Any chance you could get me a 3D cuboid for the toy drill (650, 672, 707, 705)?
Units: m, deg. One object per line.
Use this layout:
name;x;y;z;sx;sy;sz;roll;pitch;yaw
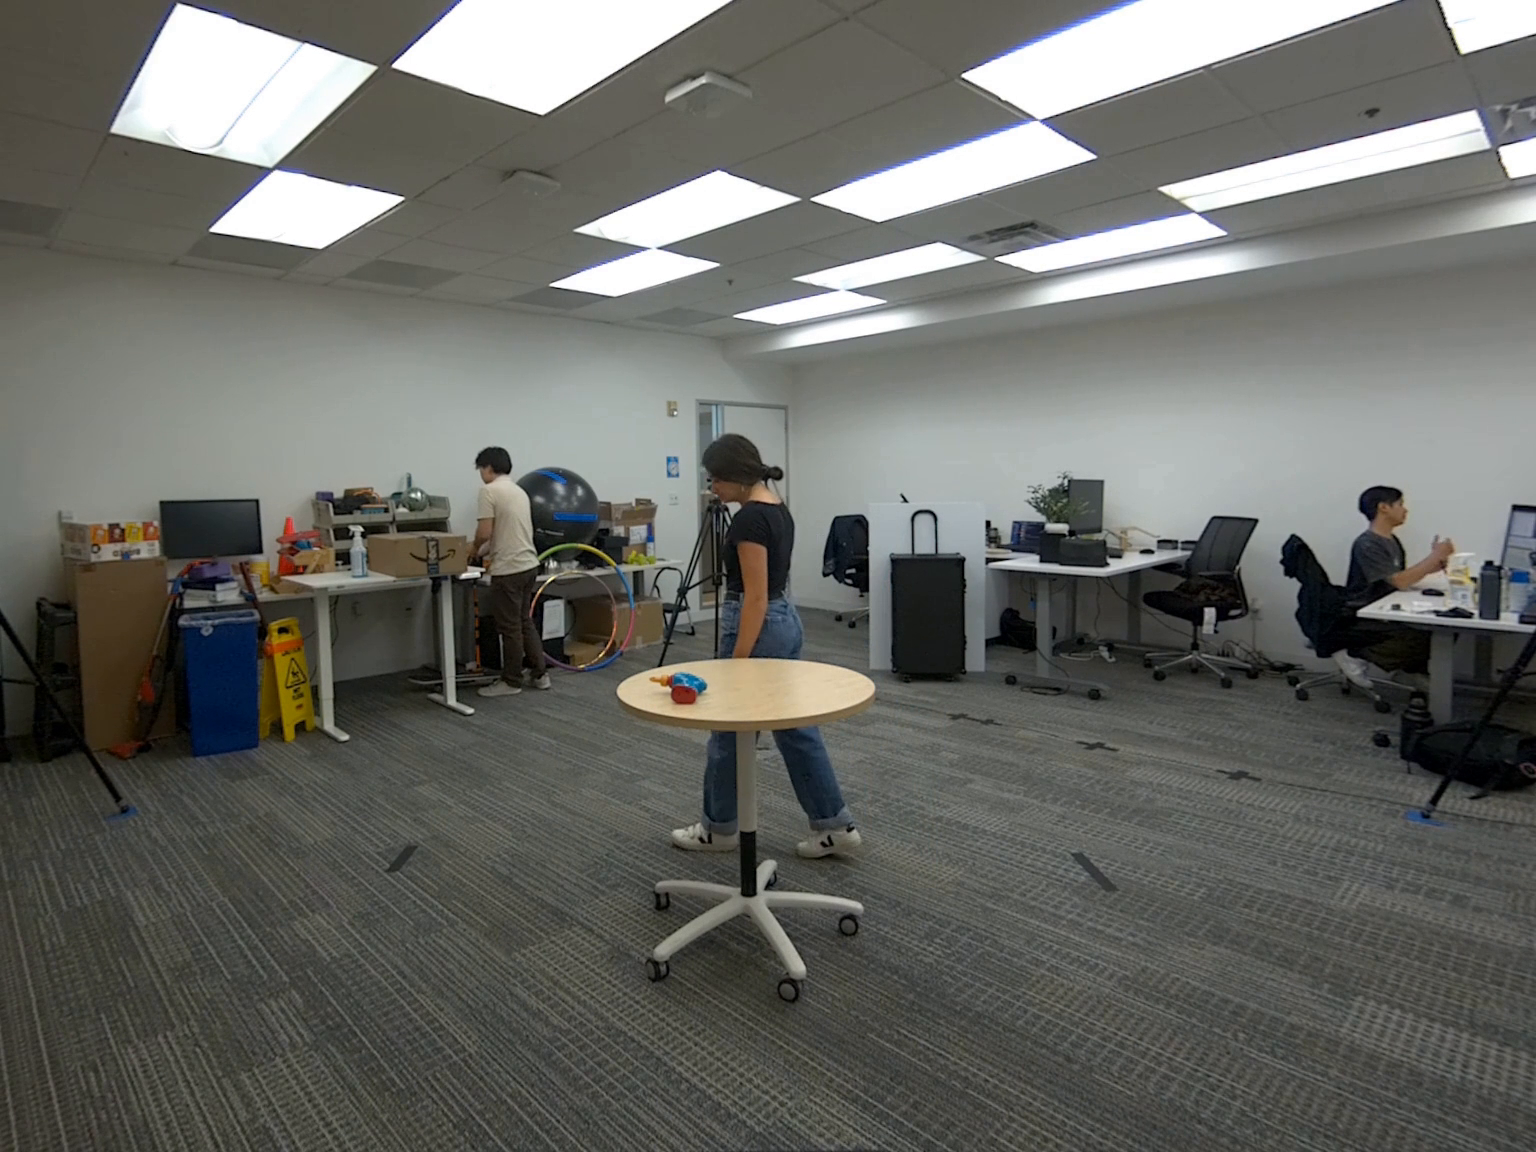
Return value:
toy drill;-0.258;0.314;2.418;0.171;0.061;0.146;8;7;6
